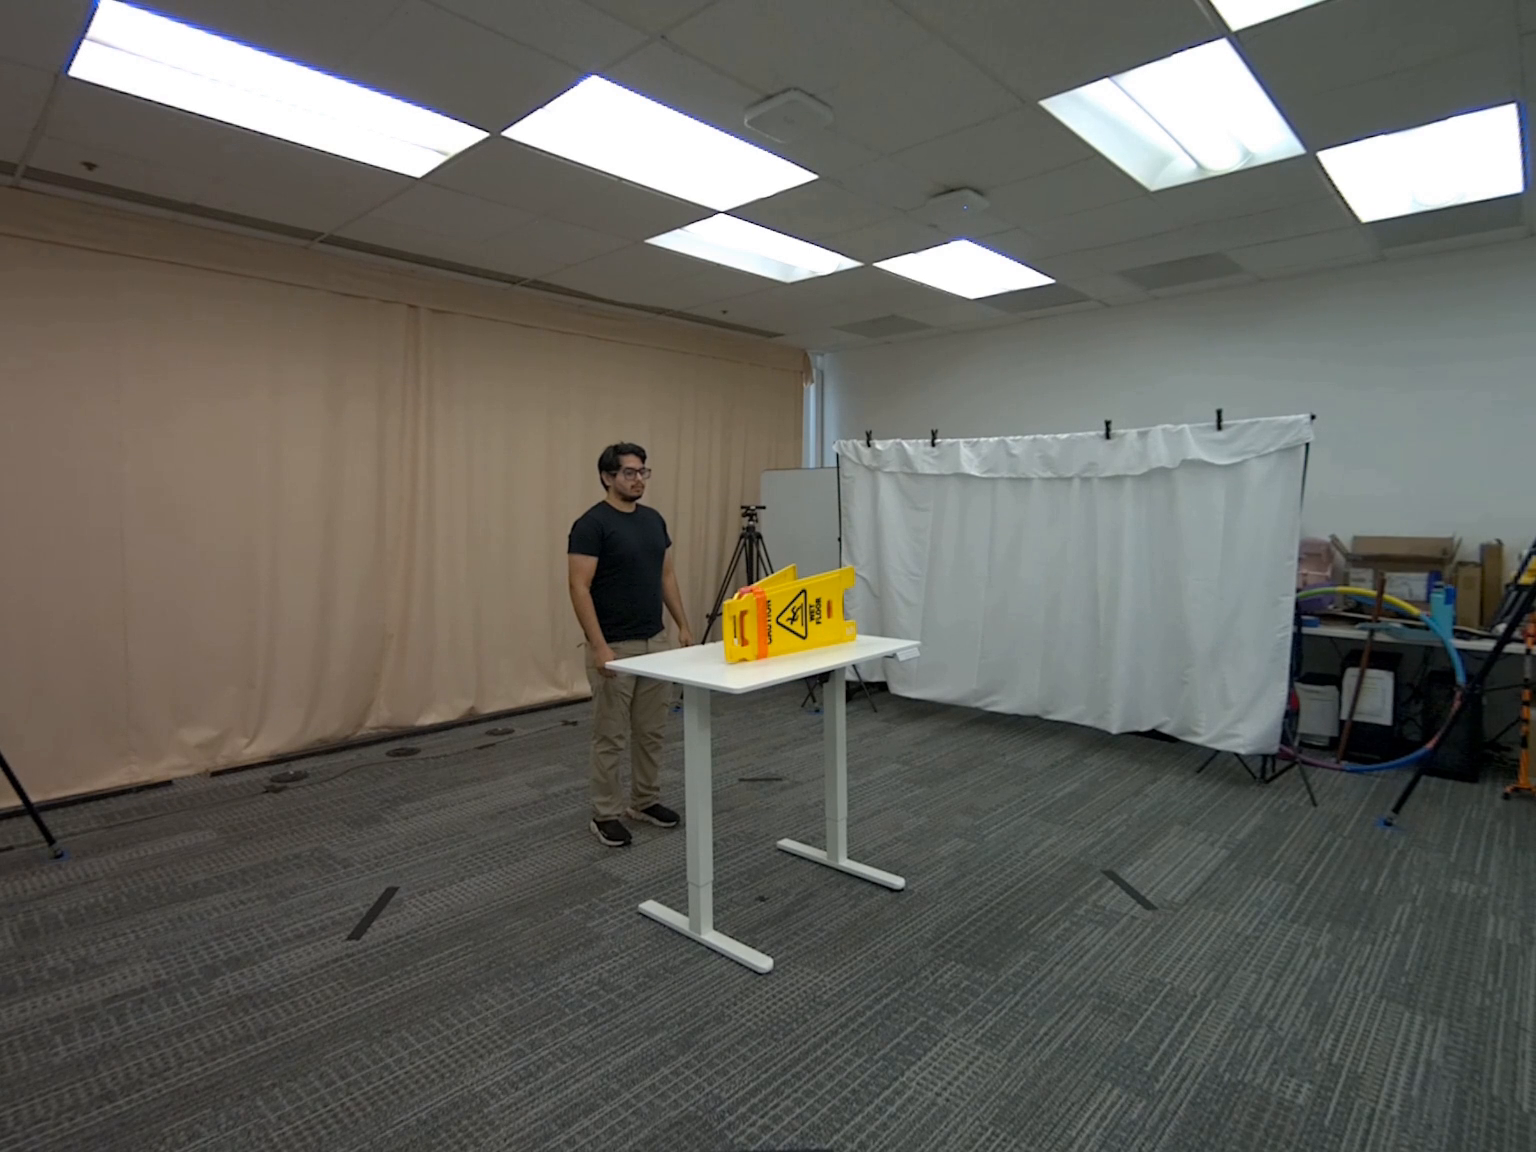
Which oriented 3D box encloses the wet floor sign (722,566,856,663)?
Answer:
[{"bbox_3d":[0.050,0.140,2.954,0.299,0.281,0.629,2,8,34],"label":"wet floor sign"}]
